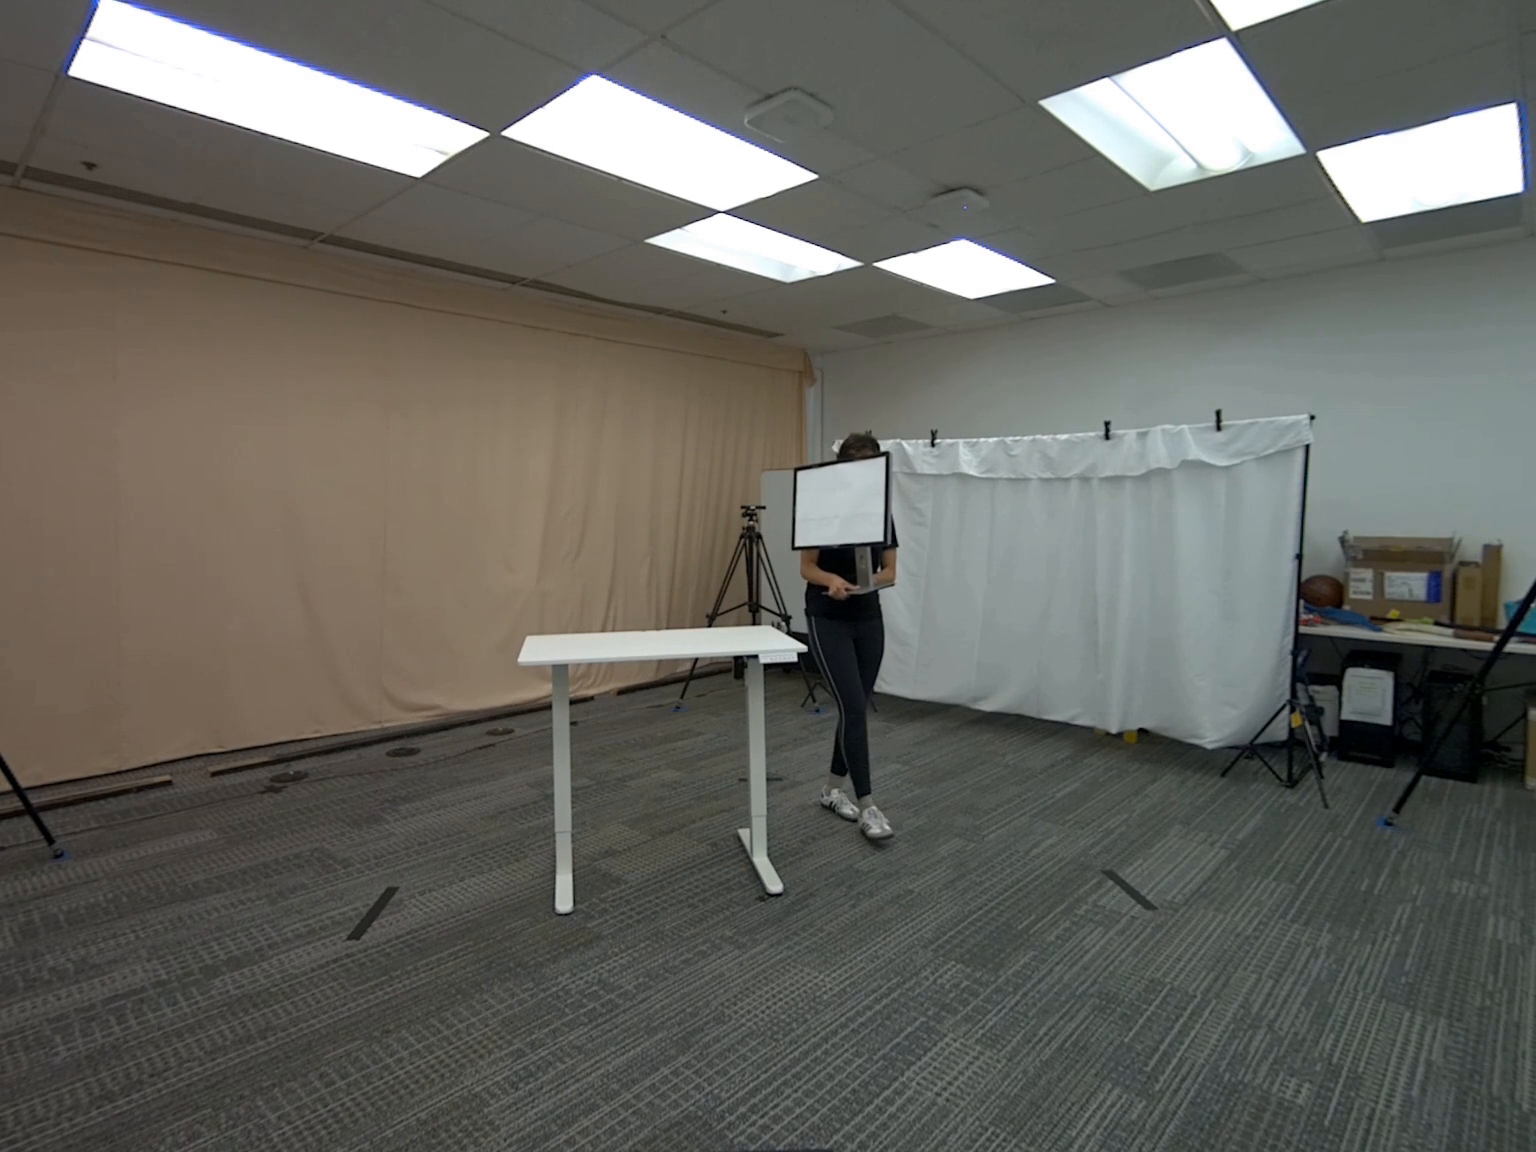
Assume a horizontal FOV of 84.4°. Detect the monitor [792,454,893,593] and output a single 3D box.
[{"bbox_3d":[0.327,-0.206,3.450,0.182,0.521,0.555,-11,5,-38],"label":"monitor"}]
